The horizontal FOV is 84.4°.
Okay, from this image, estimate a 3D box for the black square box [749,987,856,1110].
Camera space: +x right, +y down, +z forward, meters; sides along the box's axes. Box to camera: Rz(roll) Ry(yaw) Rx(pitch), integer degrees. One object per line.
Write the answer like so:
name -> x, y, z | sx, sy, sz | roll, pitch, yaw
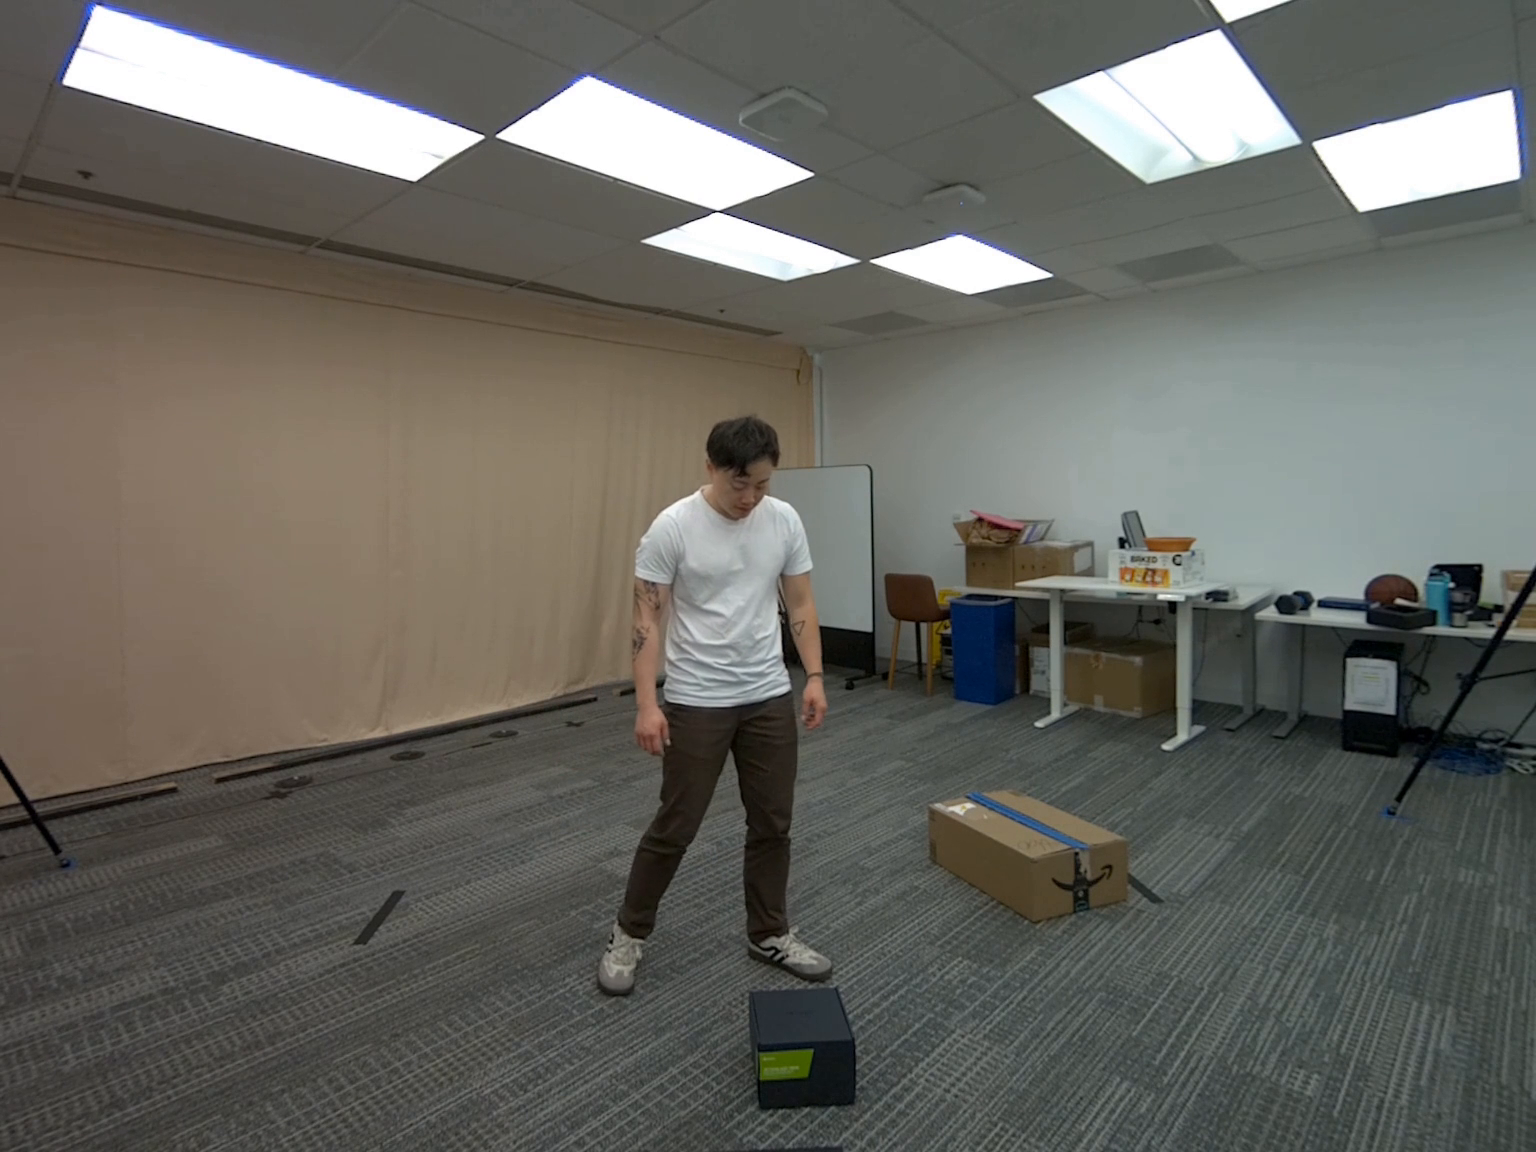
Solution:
black square box -> 0.083, 1.139, 2.035 | 0.227, 0.155, 0.218 | -1, 5, -5
